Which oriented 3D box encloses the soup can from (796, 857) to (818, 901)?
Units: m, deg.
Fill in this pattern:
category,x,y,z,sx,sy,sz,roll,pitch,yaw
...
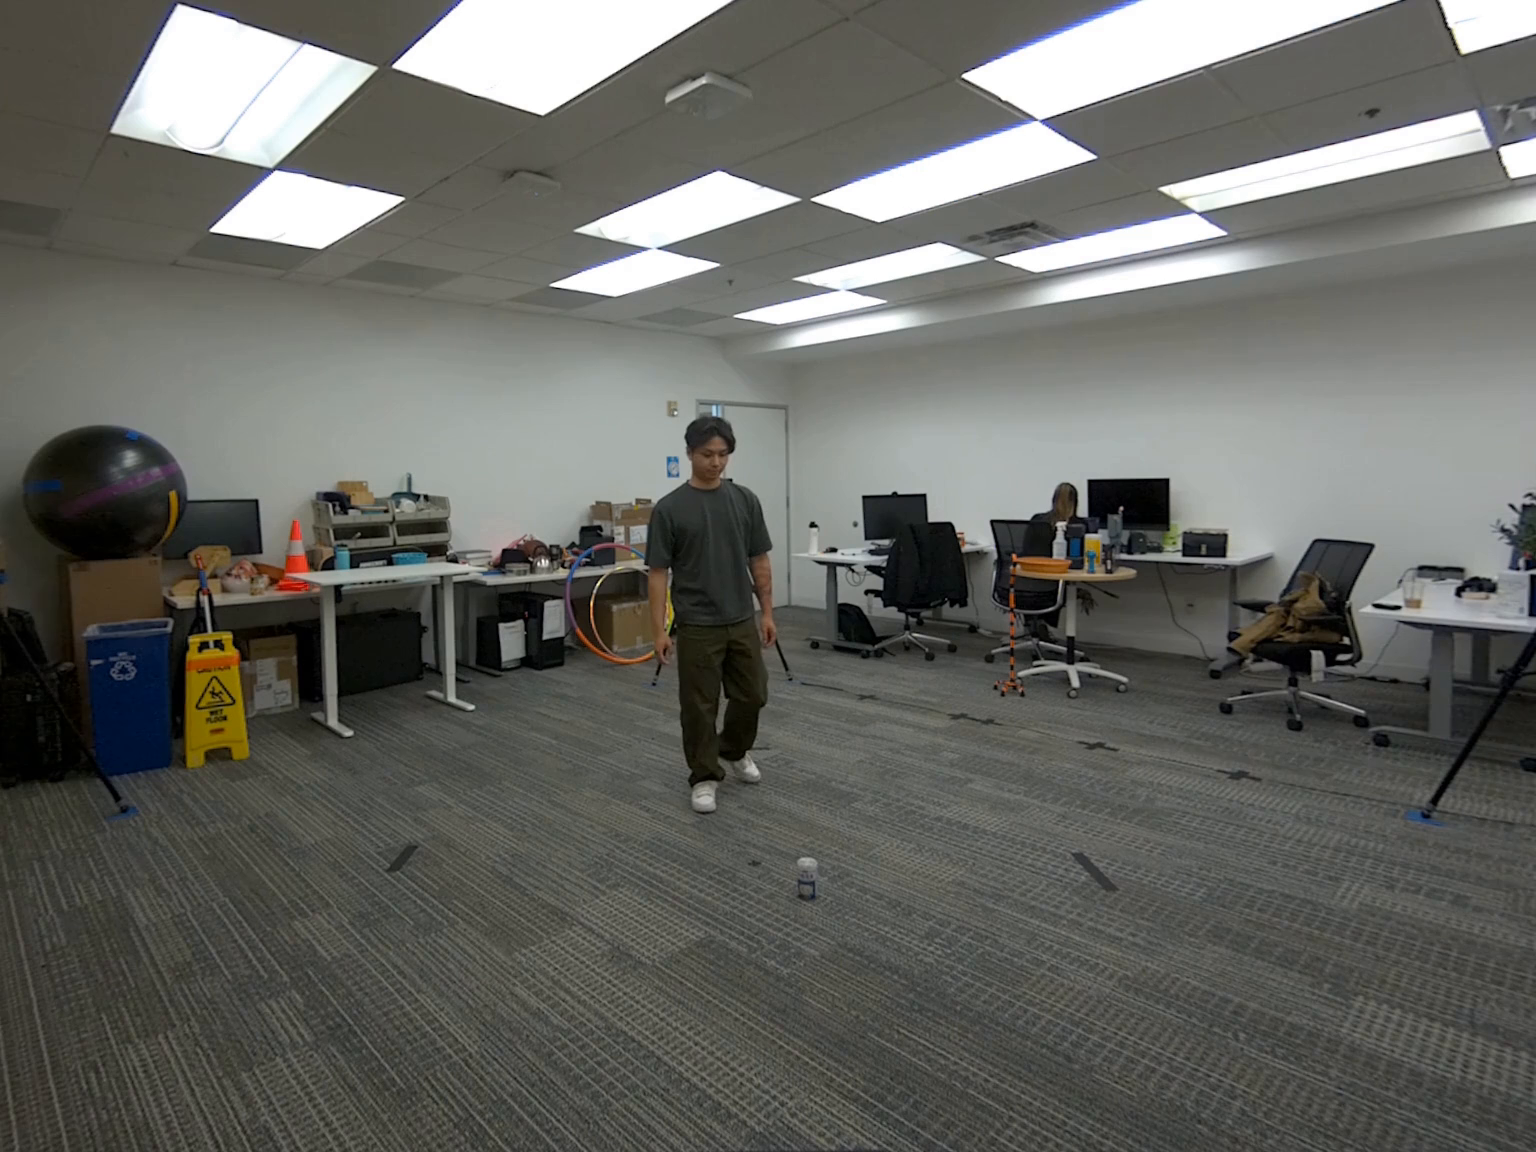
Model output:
category,x,y,z,sx,sy,sz,roll,pitch,yaw
soup can,0.140,1.014,2.848,0.067,0.121,0.067,-3,6,-1
